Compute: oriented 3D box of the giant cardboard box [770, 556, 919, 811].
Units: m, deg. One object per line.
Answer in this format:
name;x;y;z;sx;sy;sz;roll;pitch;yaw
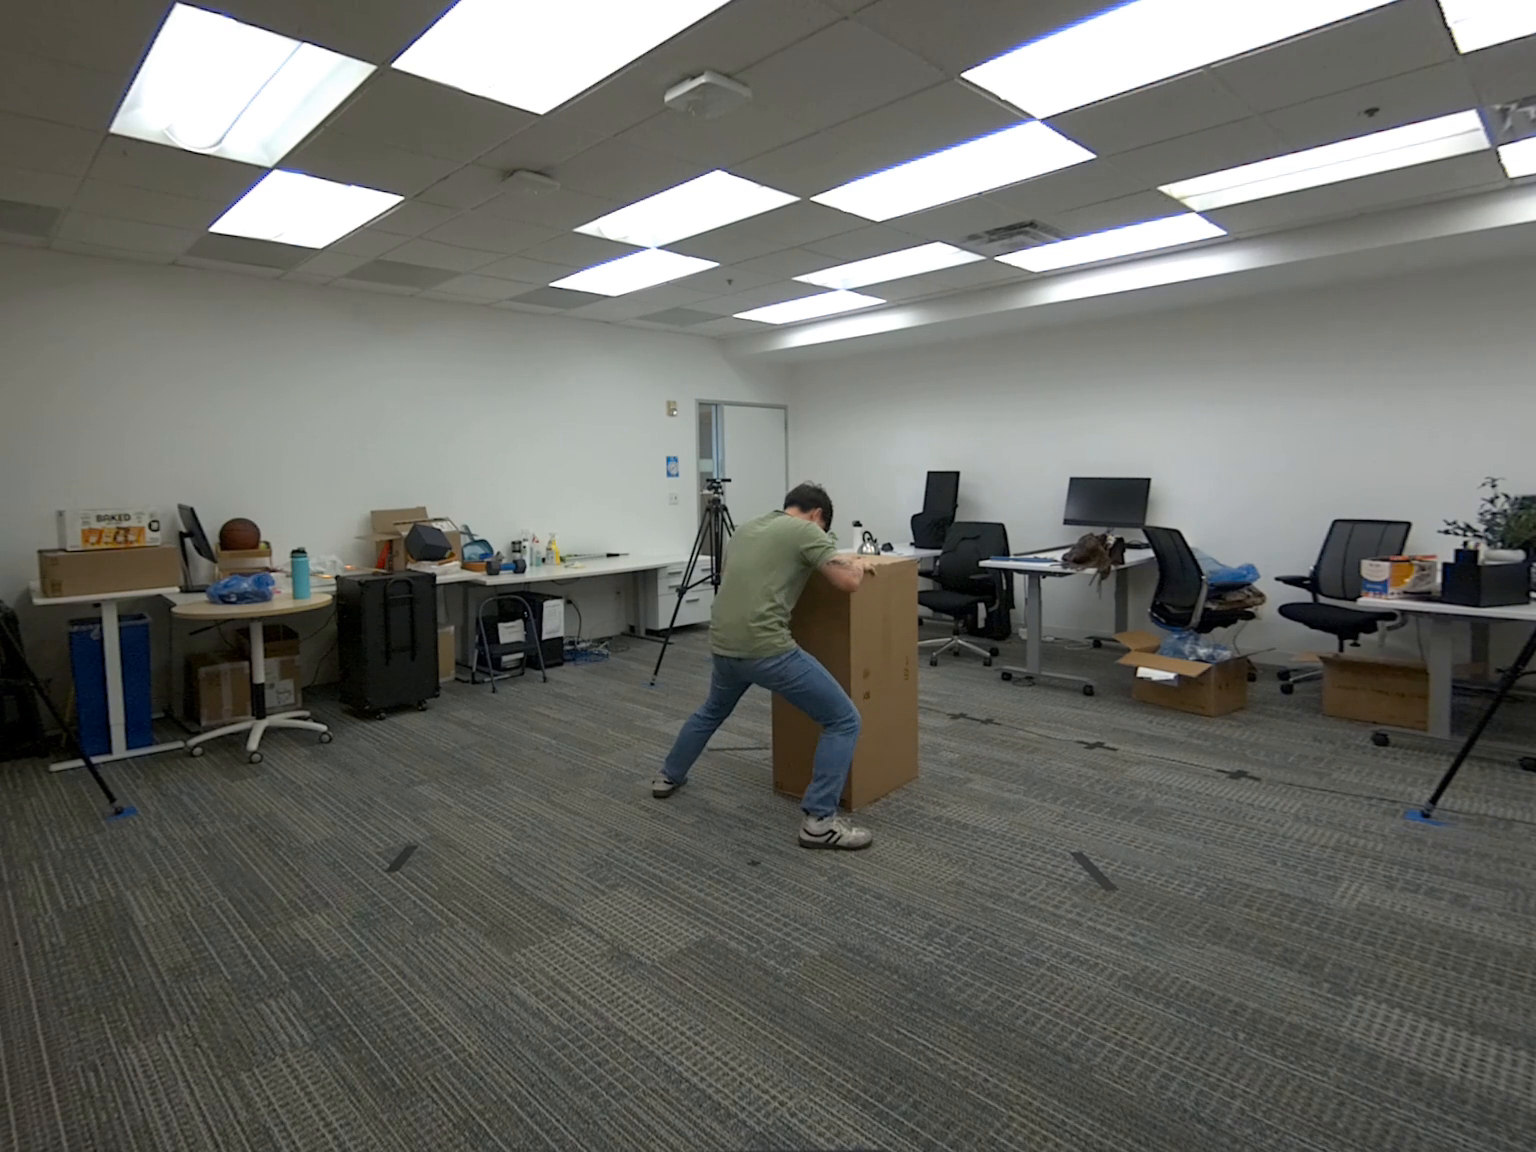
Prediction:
giant cardboard box;0.354;0.446;3.877;0.439;1.022;0.562;3;6;39
